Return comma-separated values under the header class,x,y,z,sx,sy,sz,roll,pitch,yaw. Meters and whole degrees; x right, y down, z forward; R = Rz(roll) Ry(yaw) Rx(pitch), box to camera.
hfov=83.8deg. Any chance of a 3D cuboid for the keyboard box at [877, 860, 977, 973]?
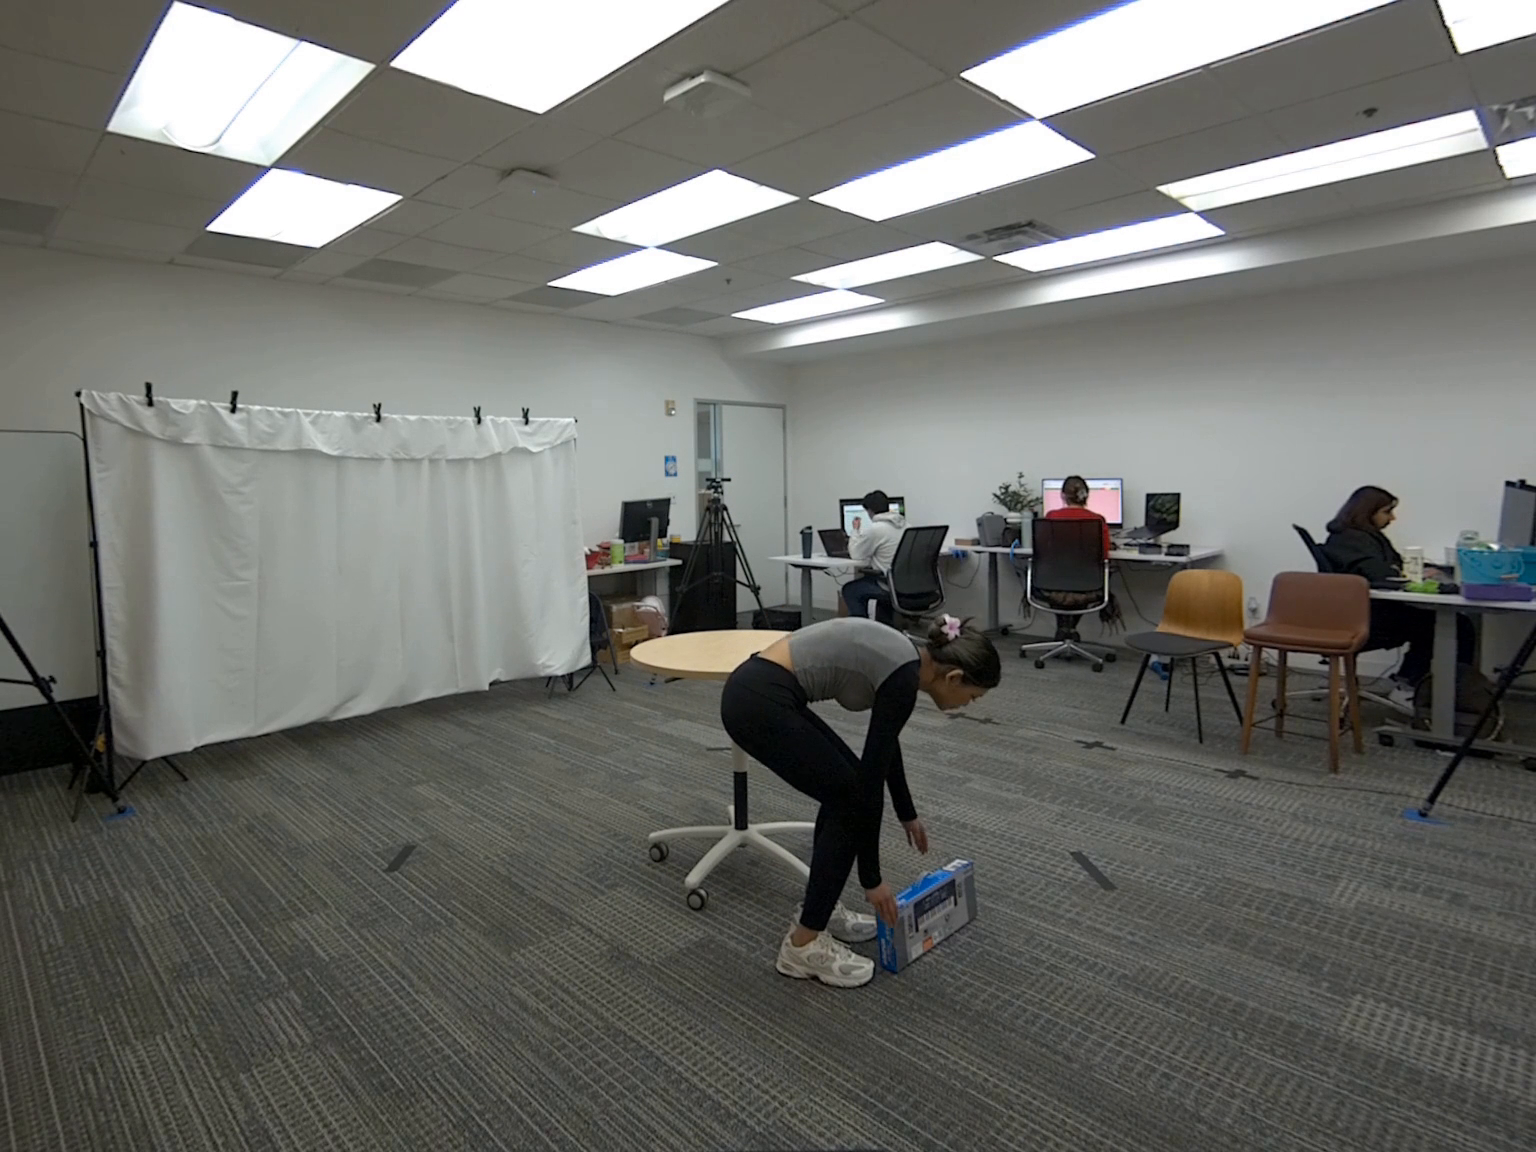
class,x,y,z,sx,sy,sz,roll,pitch,yaw
keyboard box,0.487,1.009,2.563,0.425,0.176,0.060,-7,1,-45
